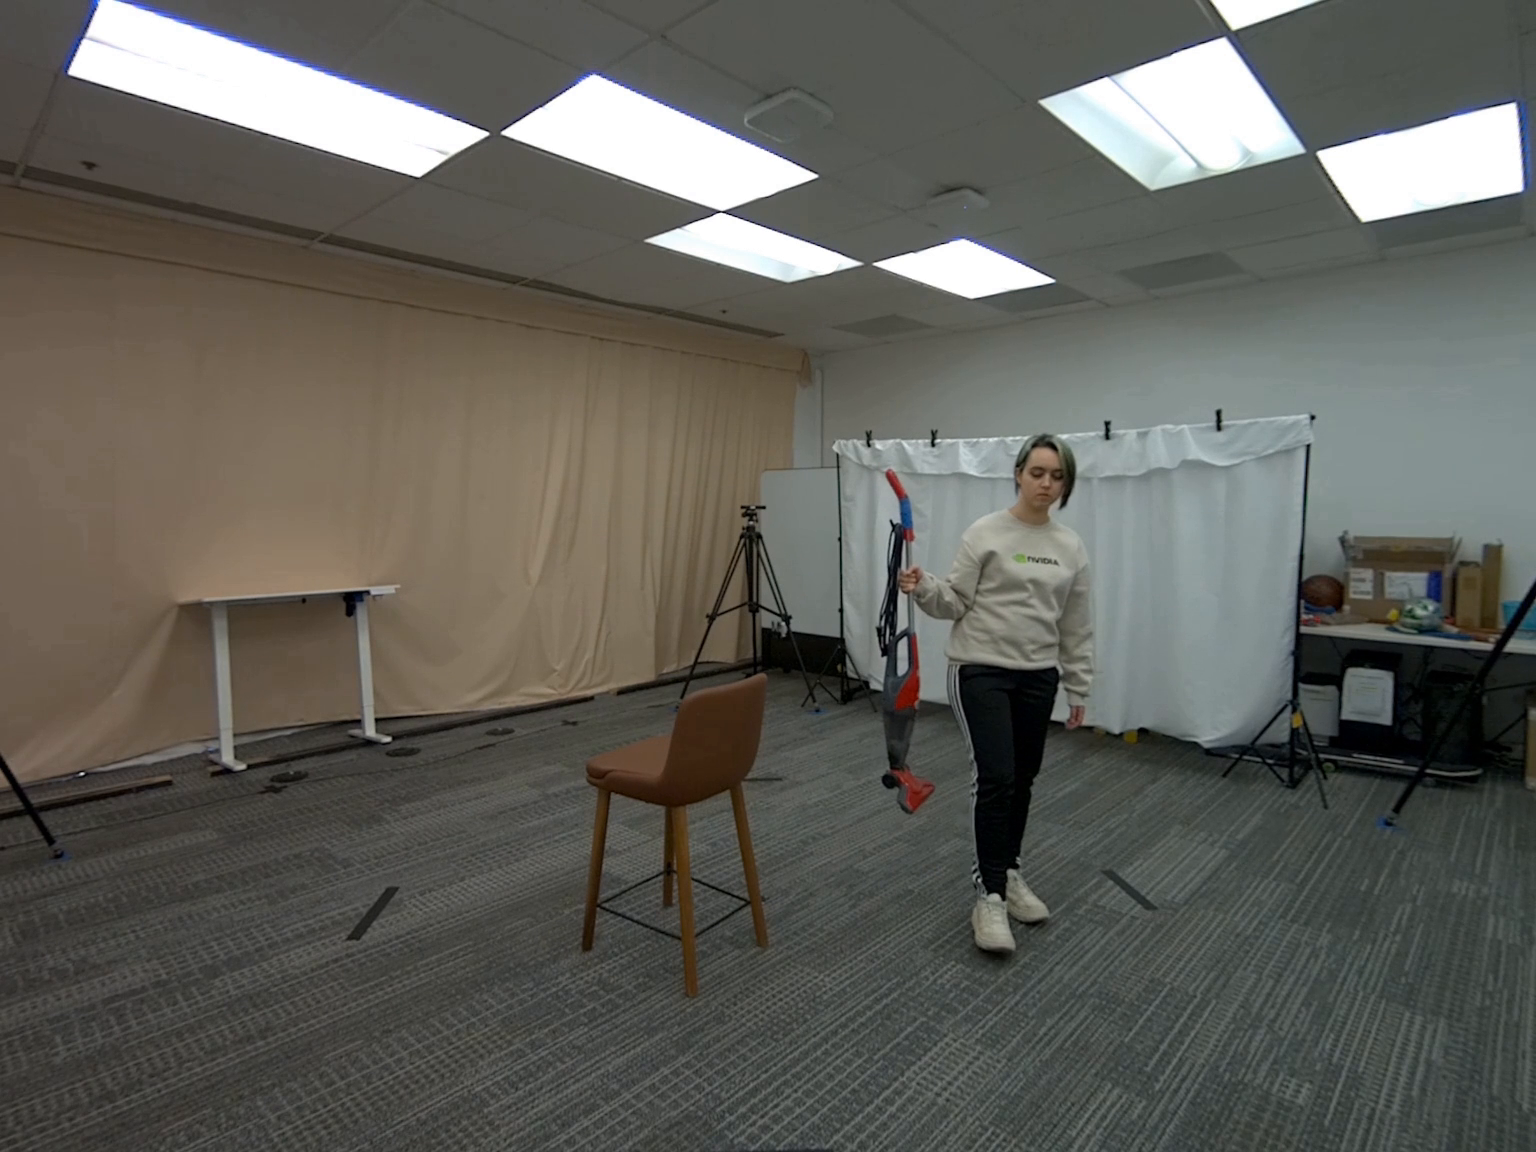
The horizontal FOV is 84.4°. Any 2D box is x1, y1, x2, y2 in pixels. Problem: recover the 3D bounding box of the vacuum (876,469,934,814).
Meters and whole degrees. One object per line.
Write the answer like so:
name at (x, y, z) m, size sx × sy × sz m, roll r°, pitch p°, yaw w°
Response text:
vacuum at (0.440, 0.188, 2.777) m, size 0.147 × 1.048 × 0.246 m, roll -4°, pitch 1°, yaw 25°
